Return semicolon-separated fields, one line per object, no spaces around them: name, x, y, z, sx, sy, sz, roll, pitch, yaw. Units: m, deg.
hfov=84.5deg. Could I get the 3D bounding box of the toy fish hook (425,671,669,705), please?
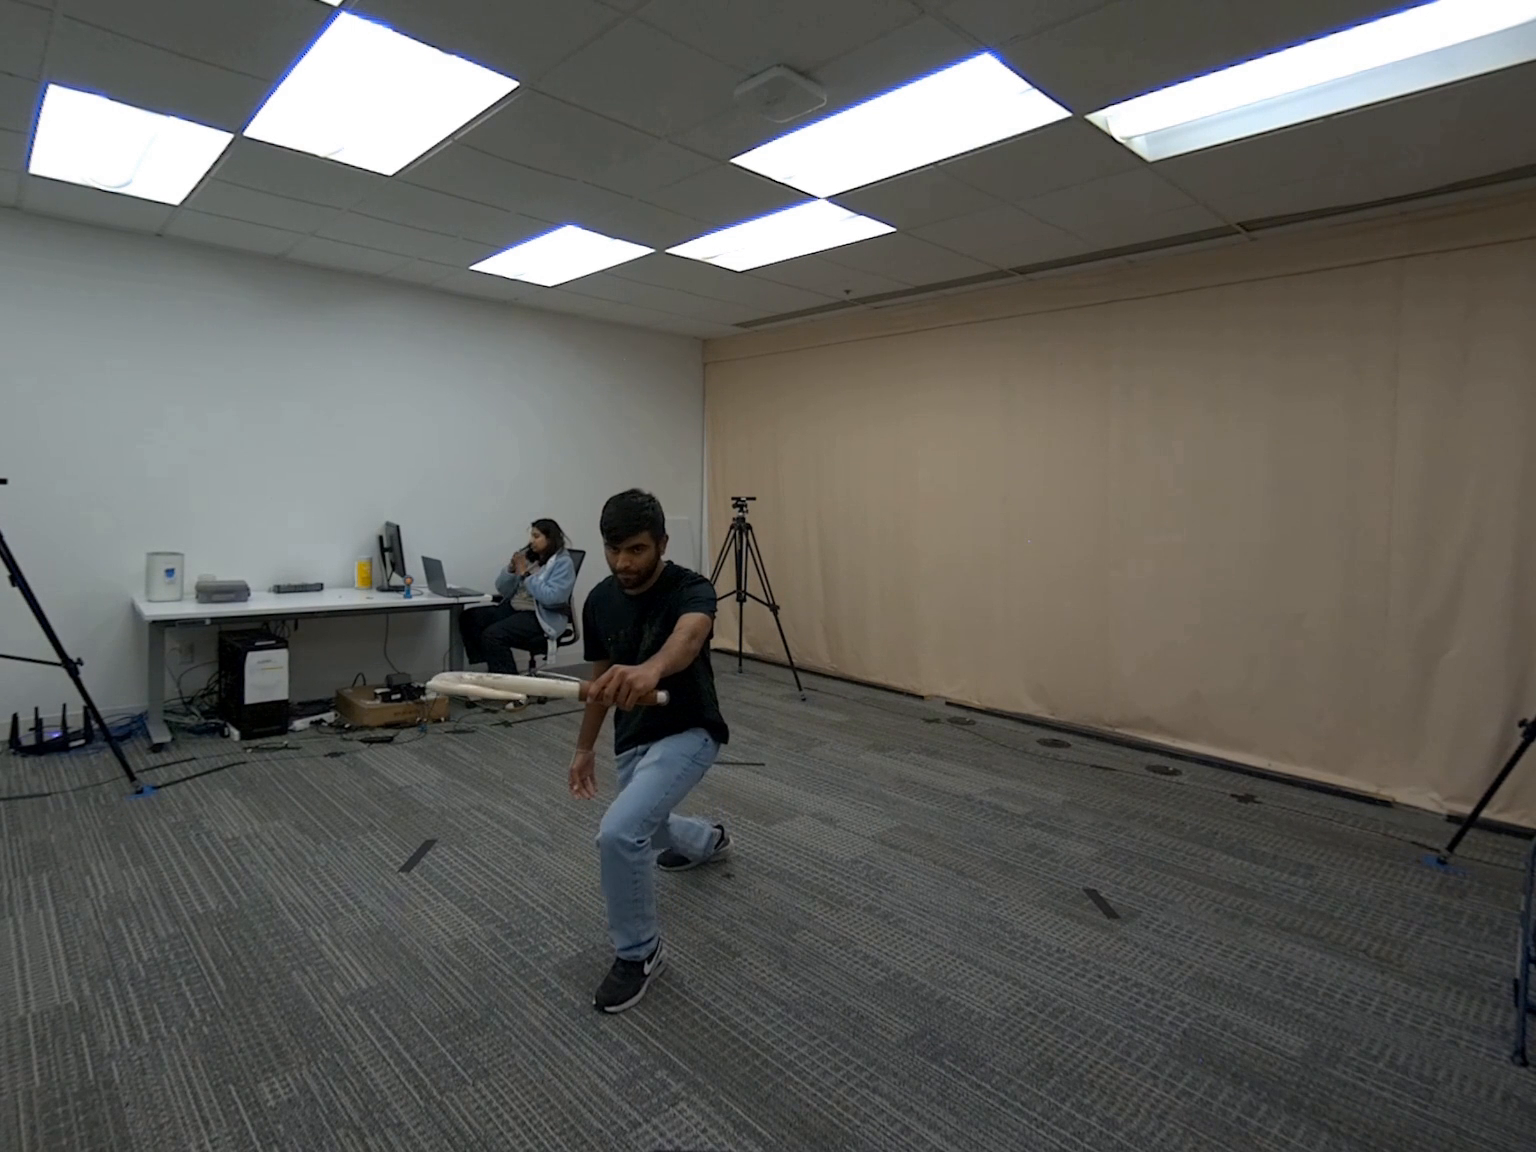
toy fish hook;-0.447;0.252;1.782;0.500;0.048;0.228;3;1;-17
